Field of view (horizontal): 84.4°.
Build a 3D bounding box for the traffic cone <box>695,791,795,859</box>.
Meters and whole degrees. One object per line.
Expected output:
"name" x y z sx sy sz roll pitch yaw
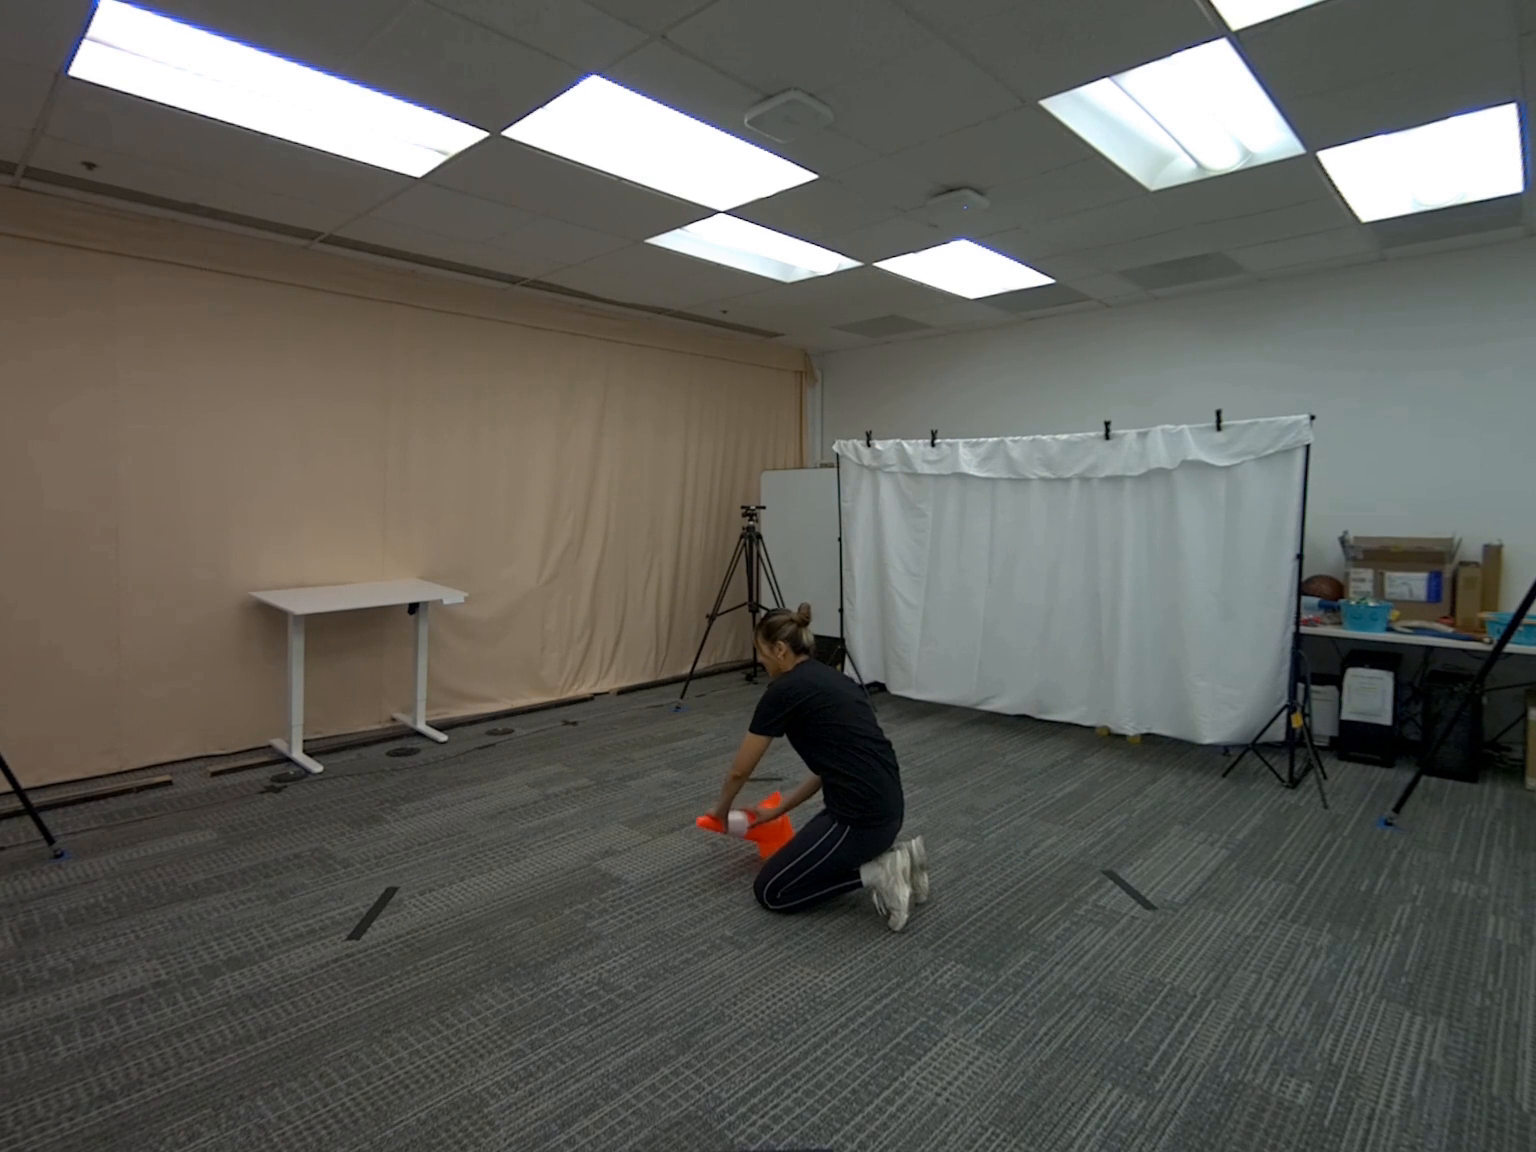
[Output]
"traffic cone" -0.118 0.960 3.232 0.370 0.210 0.205 13 -46 -39
